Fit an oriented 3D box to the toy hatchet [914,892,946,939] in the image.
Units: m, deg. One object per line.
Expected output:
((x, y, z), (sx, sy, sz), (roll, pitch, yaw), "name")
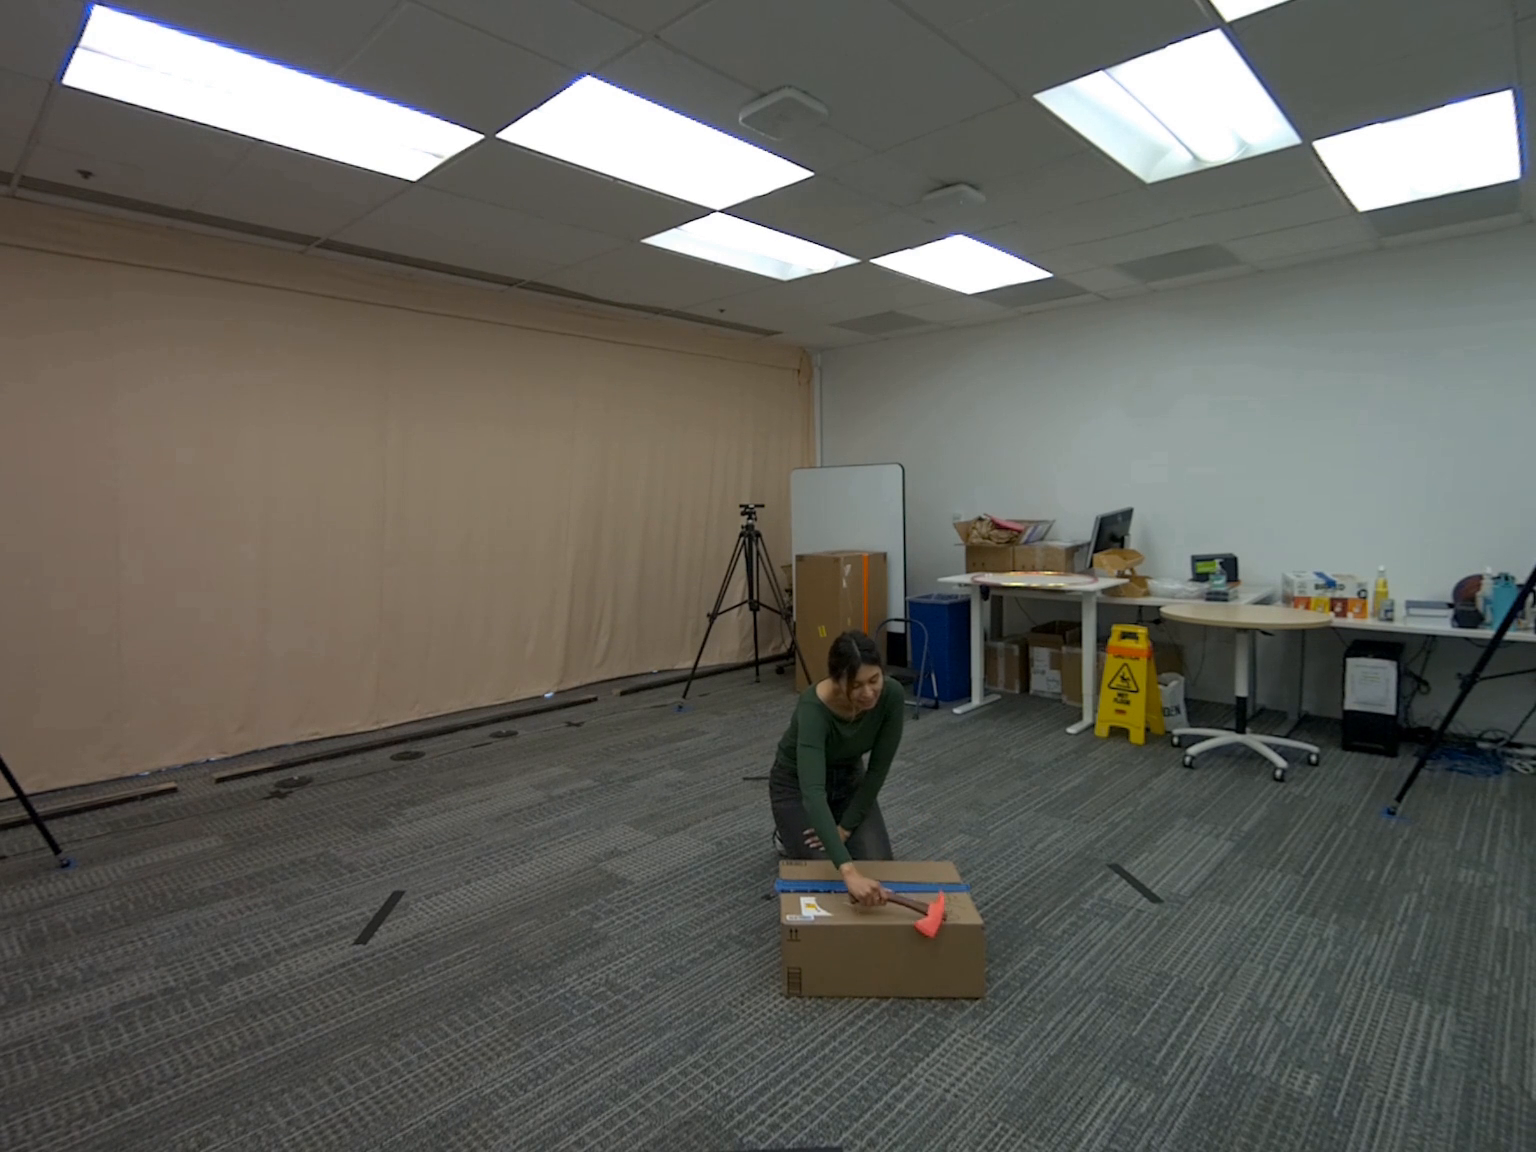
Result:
((0.366, 0.924, 2.377), (0.273, 0.029, 0.133), (-5, 42, 10), "toy hatchet")
